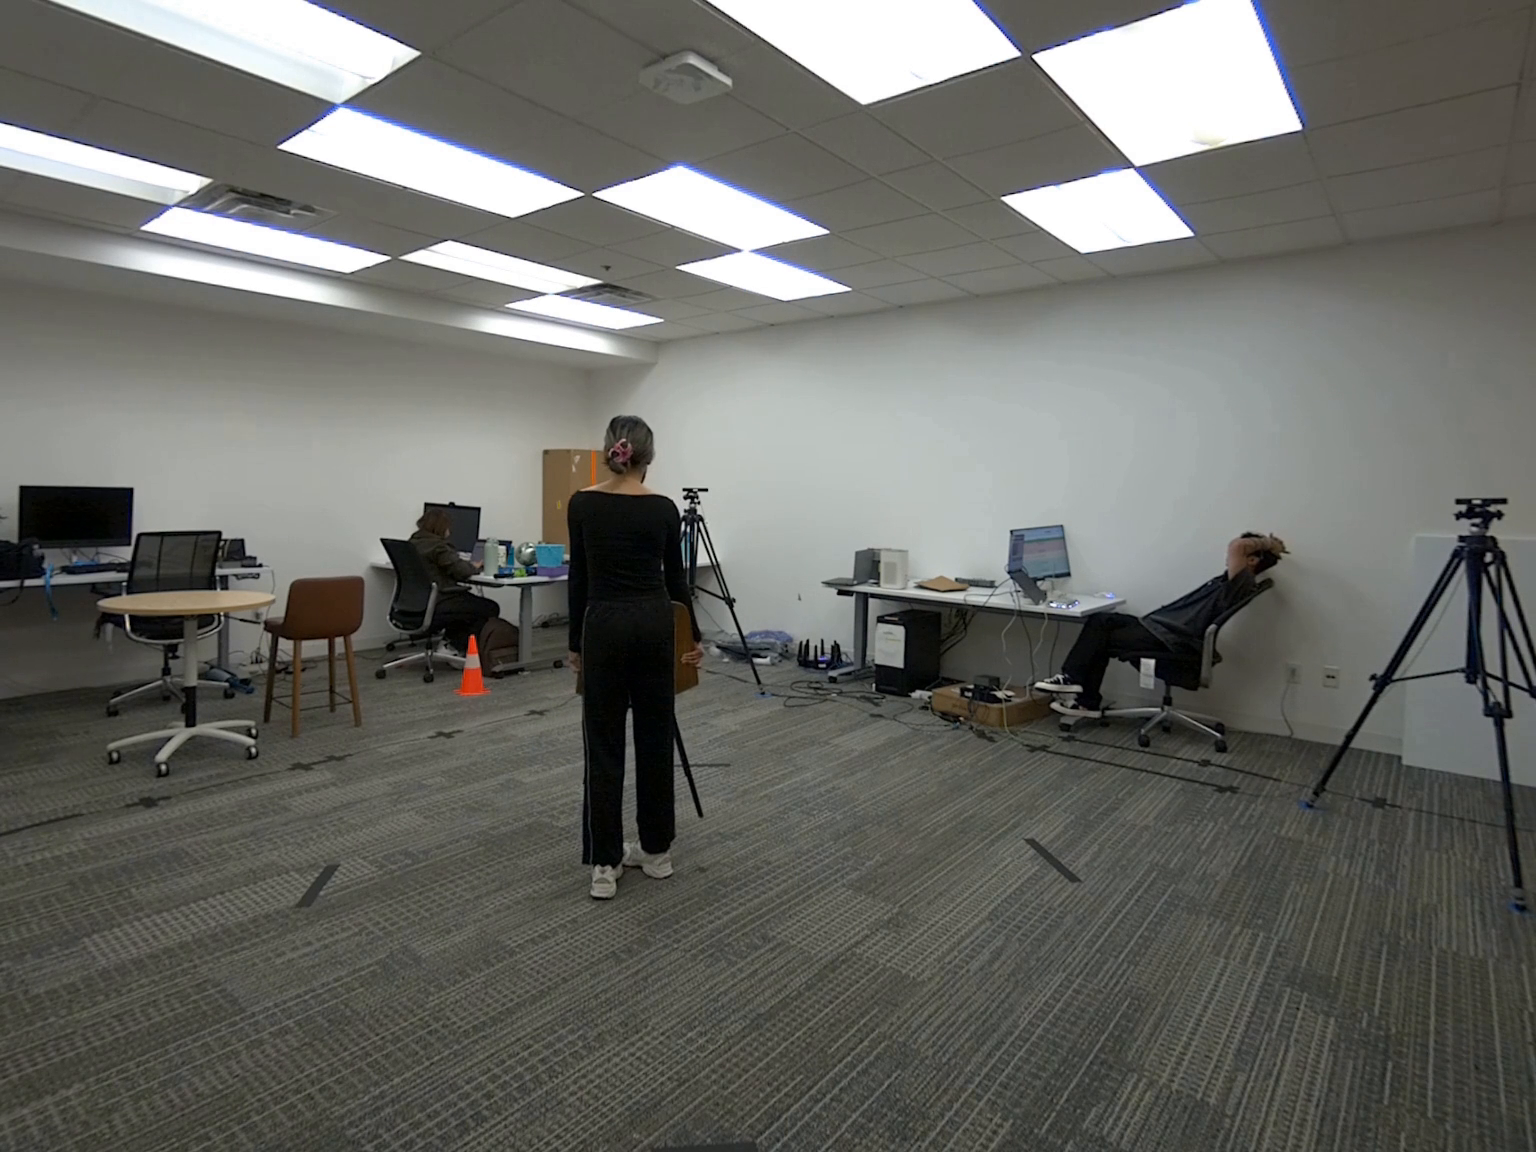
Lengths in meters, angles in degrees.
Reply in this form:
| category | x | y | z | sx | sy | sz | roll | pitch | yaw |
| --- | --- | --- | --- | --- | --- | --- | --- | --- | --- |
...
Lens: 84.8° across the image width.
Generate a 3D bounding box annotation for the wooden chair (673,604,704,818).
| category | x | y | z | sx | sy | sz | roll | pitch | yaw |
| --- | --- | --- | --- | --- | --- | --- | --- | --- | --- |
| wooden chair | -0.535 | 0.461 | 3.368 | 0.473 | 0.869 | 0.534 | -2 | 10 | -11 |
